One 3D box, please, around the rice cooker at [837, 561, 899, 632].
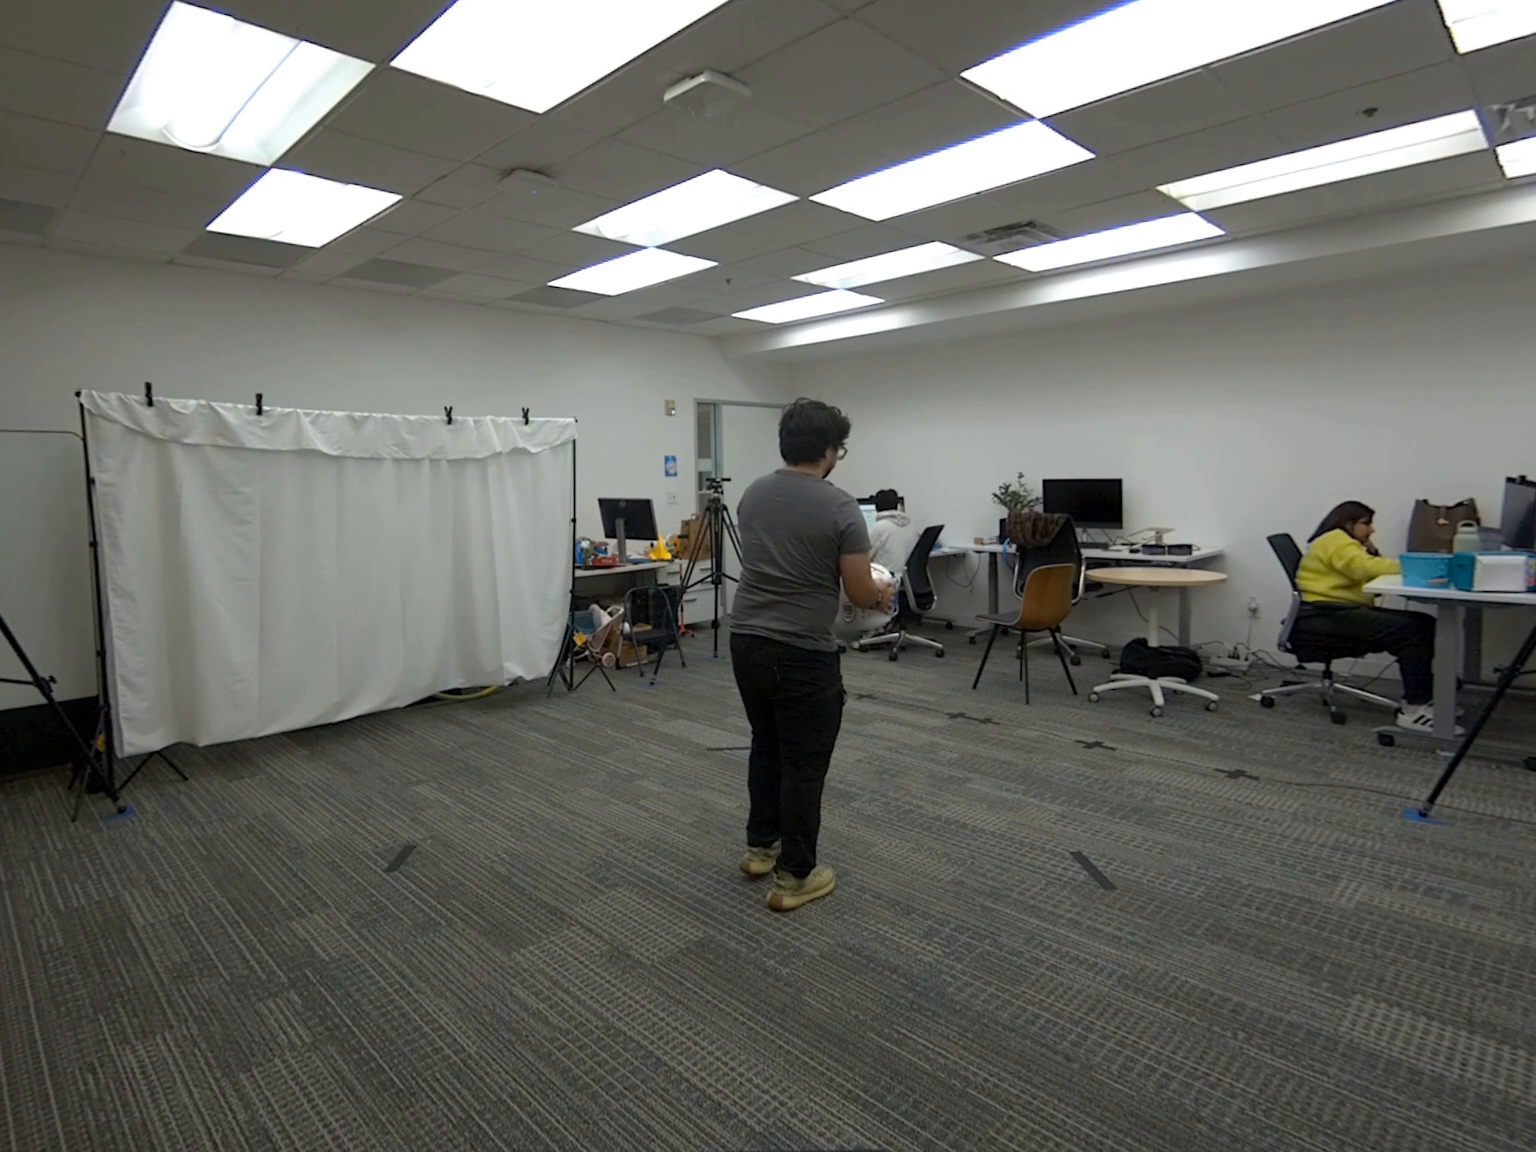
[{"bbox_3d":[0.348,0.062,3.078,0.227,0.230,0.213,4,15,39],"label":"rice cooker"}]
